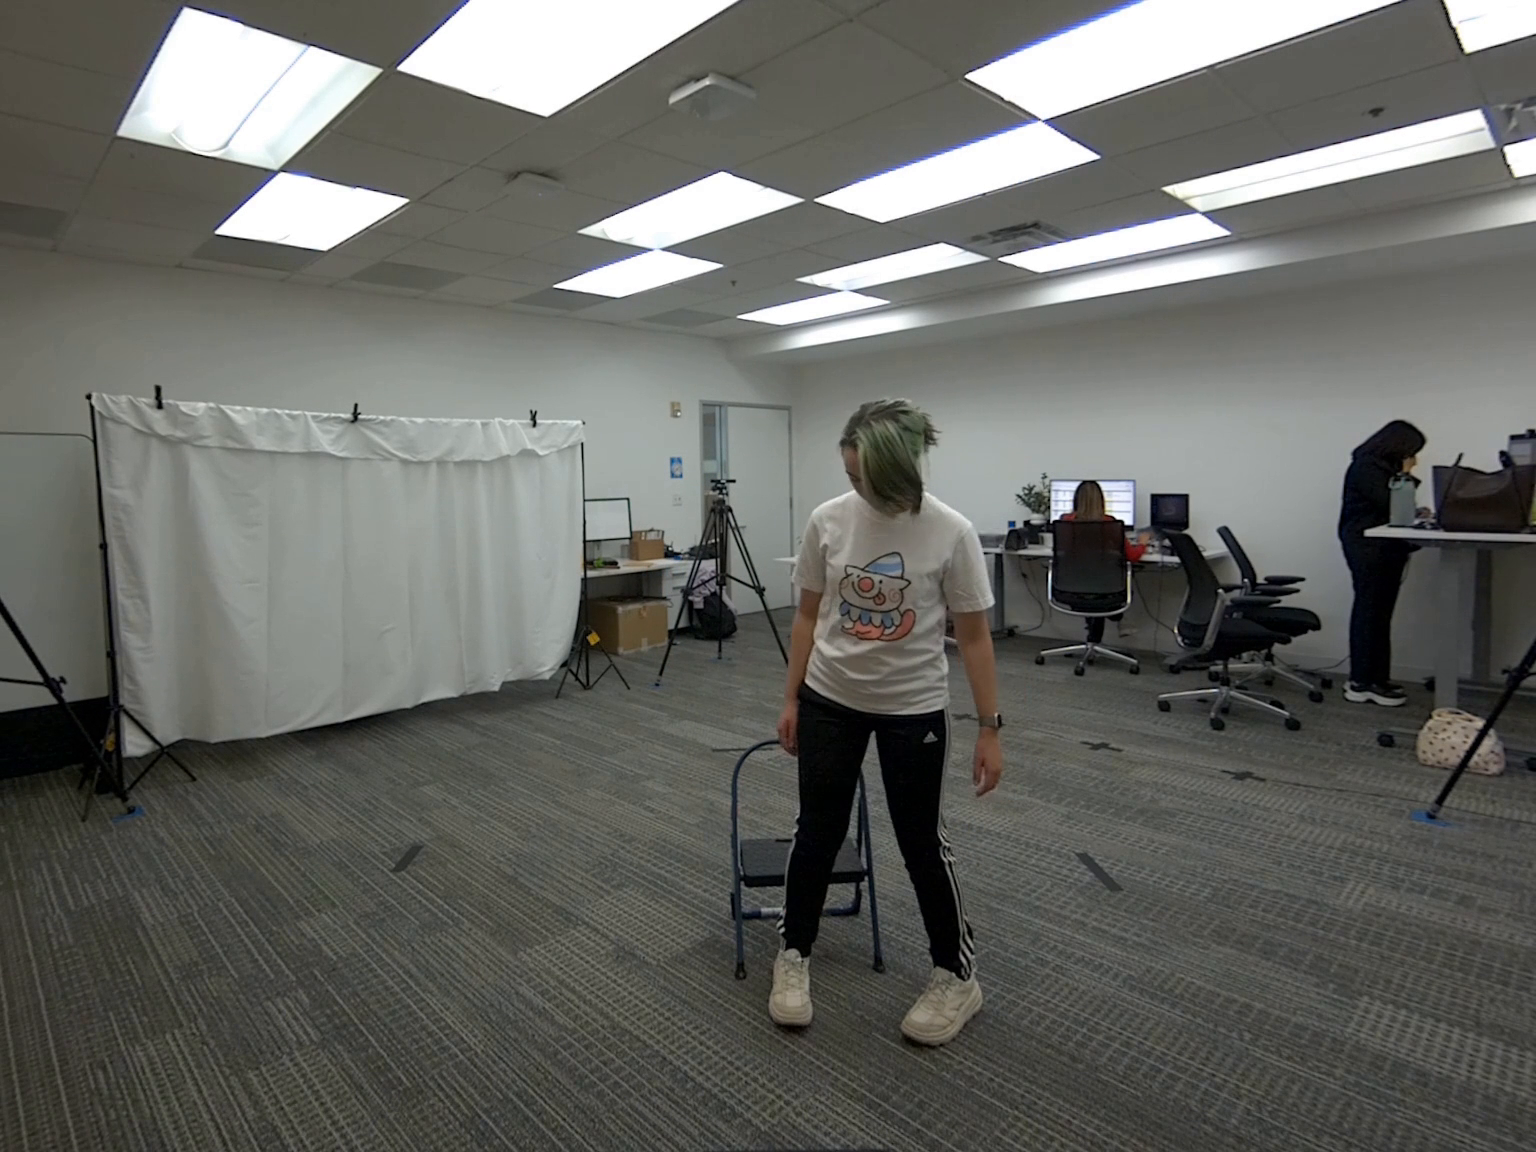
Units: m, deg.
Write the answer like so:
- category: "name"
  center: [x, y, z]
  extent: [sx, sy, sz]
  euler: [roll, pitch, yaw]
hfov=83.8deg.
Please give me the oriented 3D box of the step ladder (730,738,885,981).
- category: "step ladder"
  center: [0.100, 0.808, 2.556]
  extent: [0.429, 0.603, 0.352]
  euler: [-1, 5, -4]
